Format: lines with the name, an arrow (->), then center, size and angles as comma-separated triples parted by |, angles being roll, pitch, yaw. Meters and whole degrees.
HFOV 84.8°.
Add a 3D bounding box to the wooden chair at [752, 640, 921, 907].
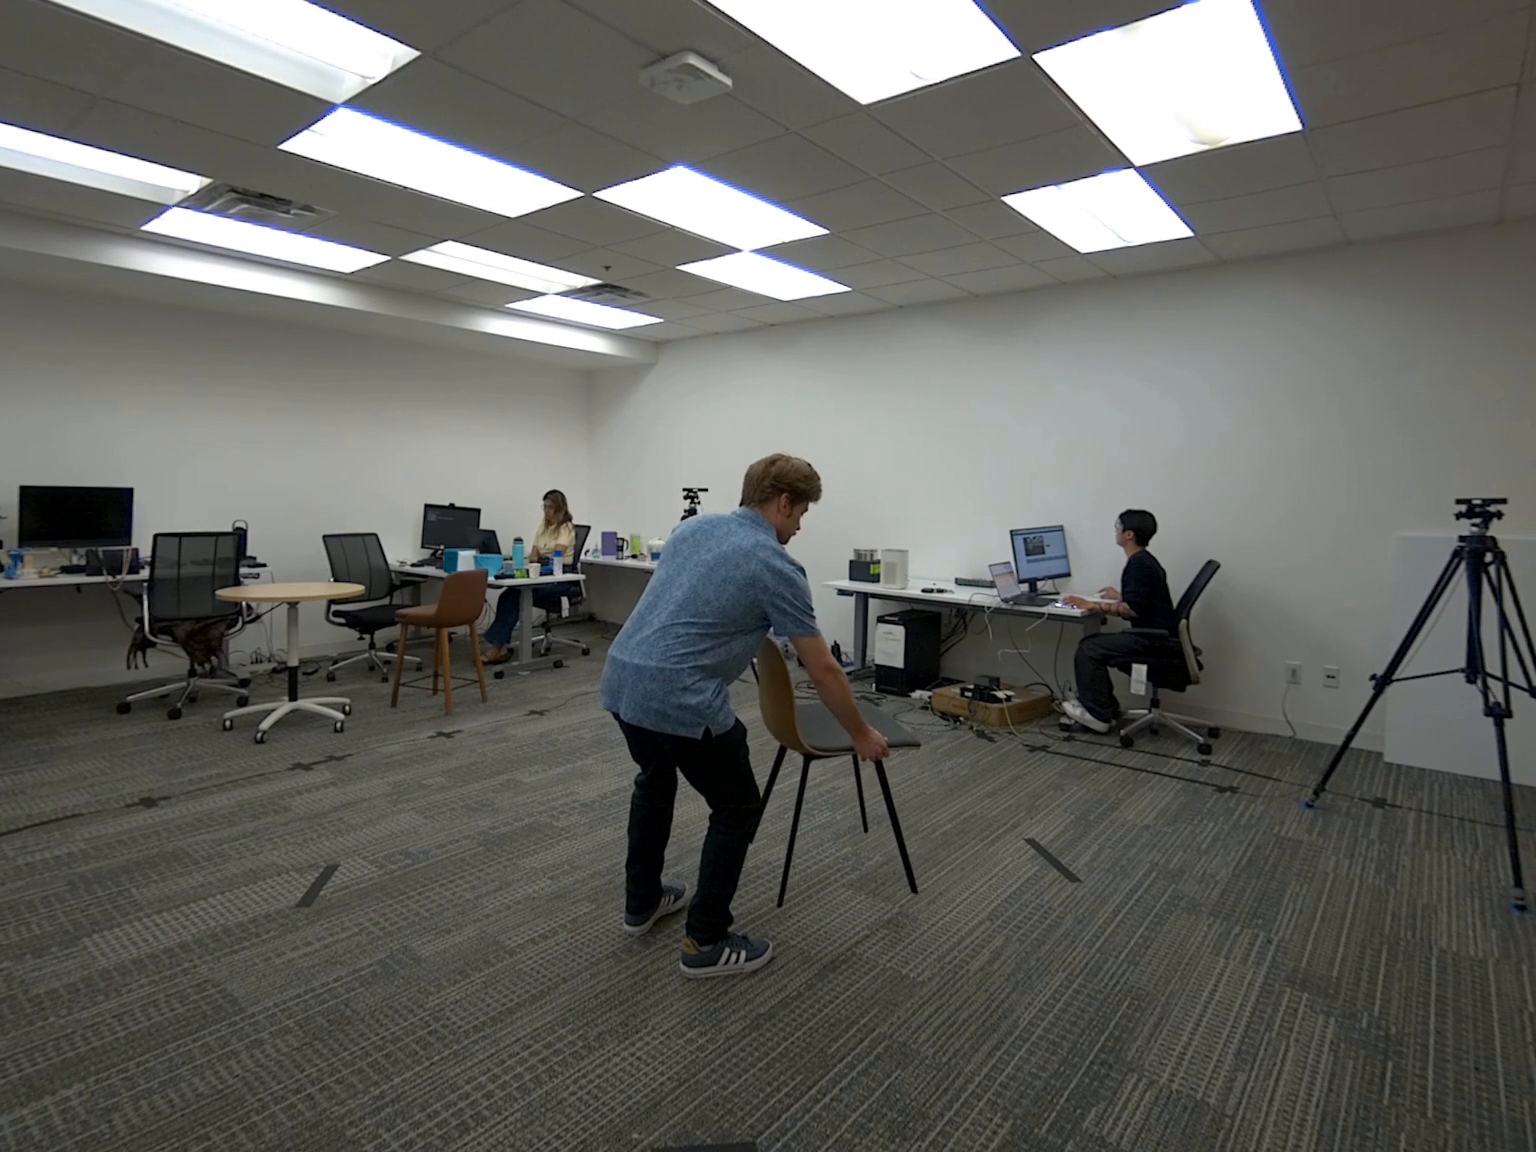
wooden chair -> 0.201, 0.544, 2.808 | 0.517, 0.872, 0.487 | -5, 6, -13
